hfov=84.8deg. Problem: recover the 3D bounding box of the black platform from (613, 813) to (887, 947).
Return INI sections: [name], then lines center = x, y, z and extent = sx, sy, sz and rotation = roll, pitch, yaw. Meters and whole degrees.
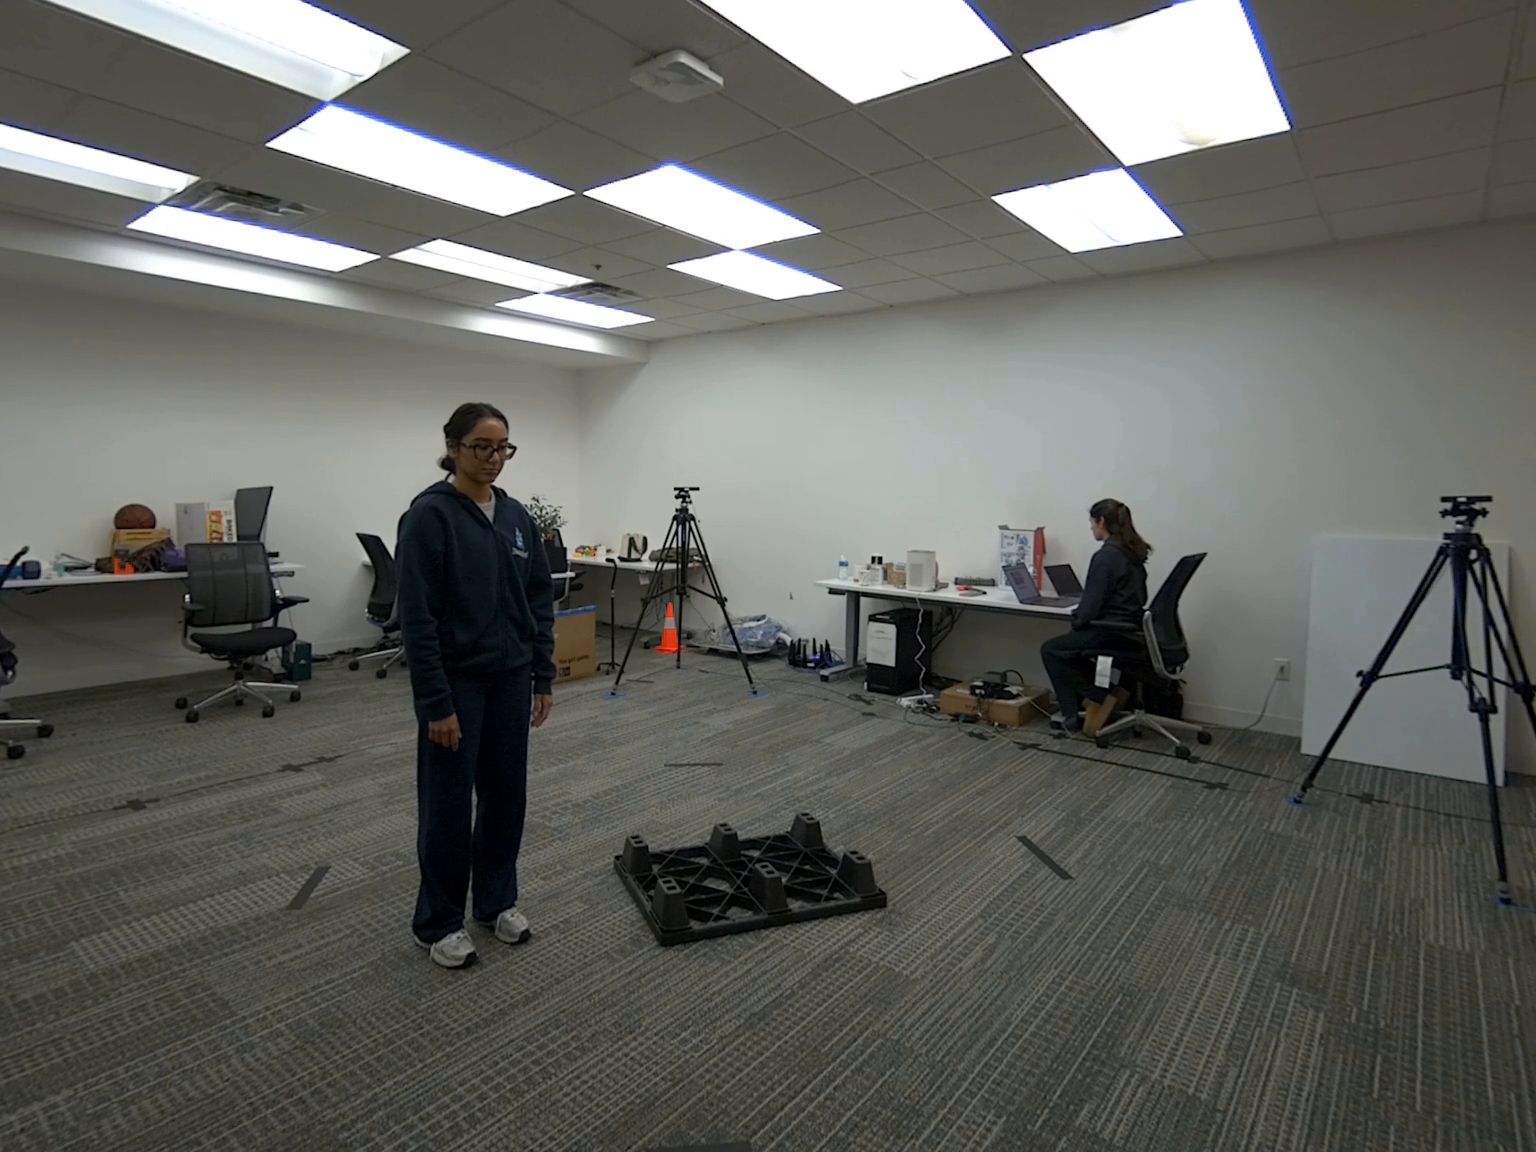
[black platform]
center = -0.088, 1.012, 2.981
extent = 0.788, 0.143, 0.621
rotation = -1, 6, -23
